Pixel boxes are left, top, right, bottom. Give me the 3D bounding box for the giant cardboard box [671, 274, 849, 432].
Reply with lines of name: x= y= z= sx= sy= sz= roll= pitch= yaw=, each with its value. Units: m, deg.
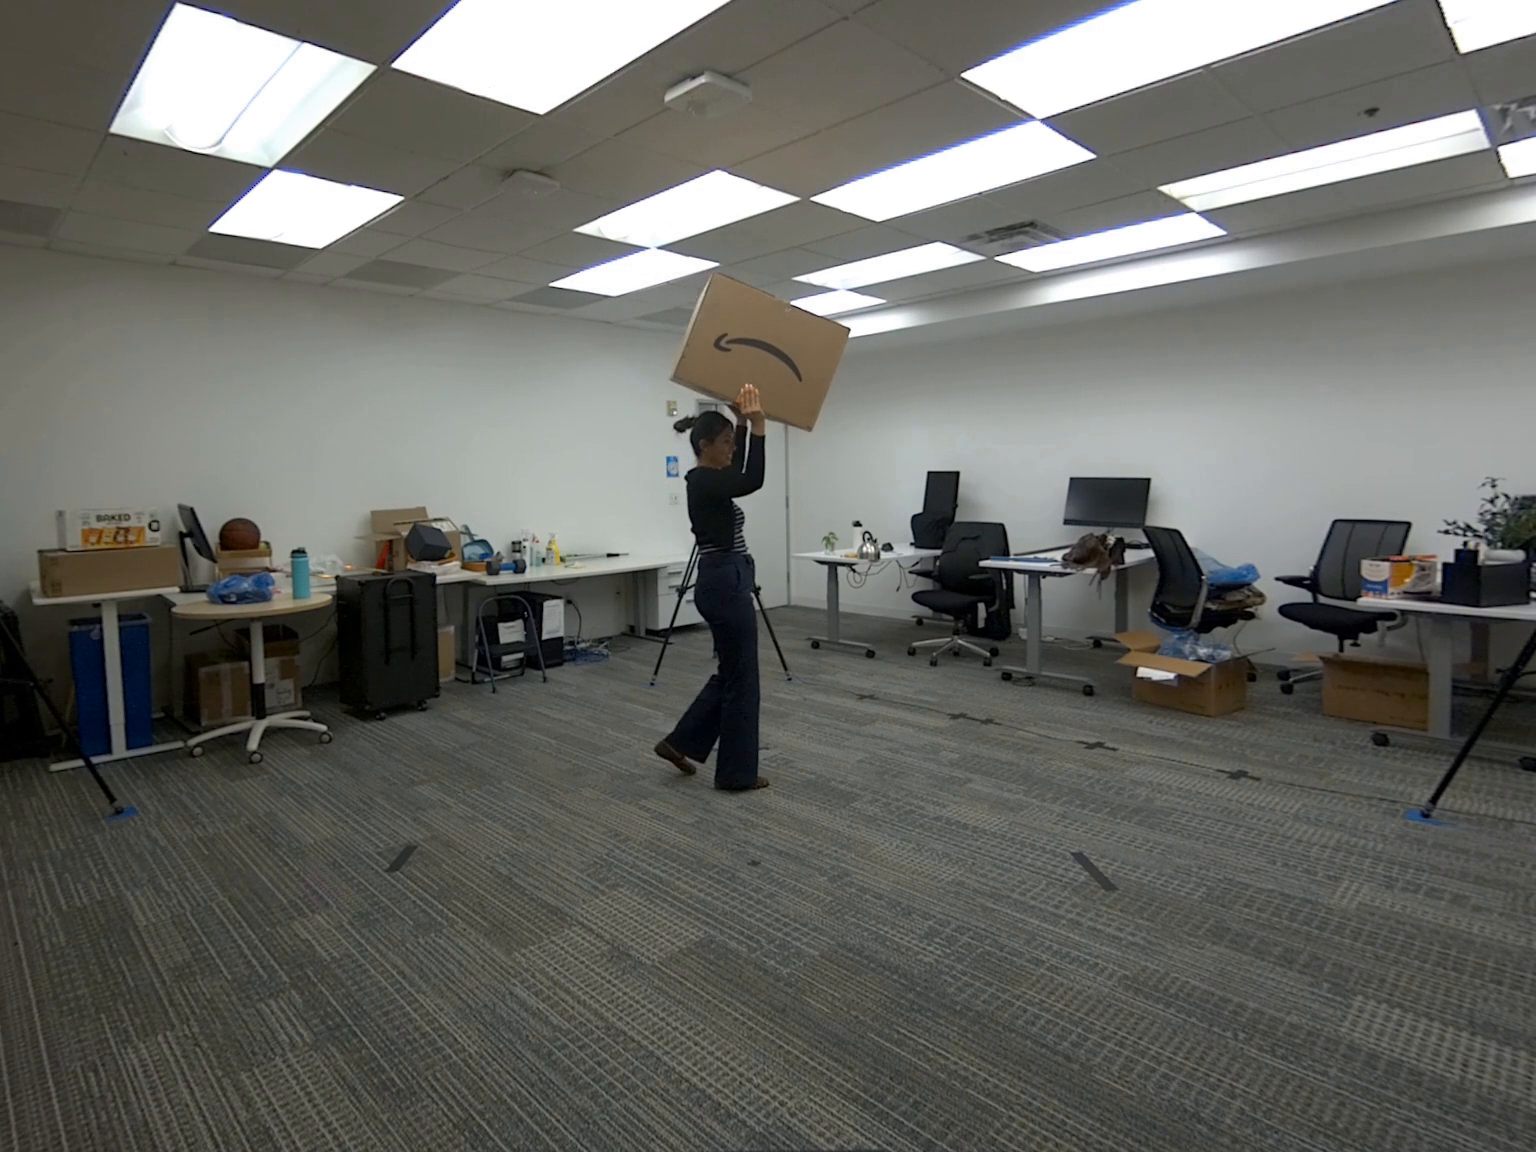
giant cardboard box: x=-0.085 y=-0.957 z=3.761 sx=0.572 sy=0.424 sz=1.041 roll=20 pitch=10 yaw=-10
